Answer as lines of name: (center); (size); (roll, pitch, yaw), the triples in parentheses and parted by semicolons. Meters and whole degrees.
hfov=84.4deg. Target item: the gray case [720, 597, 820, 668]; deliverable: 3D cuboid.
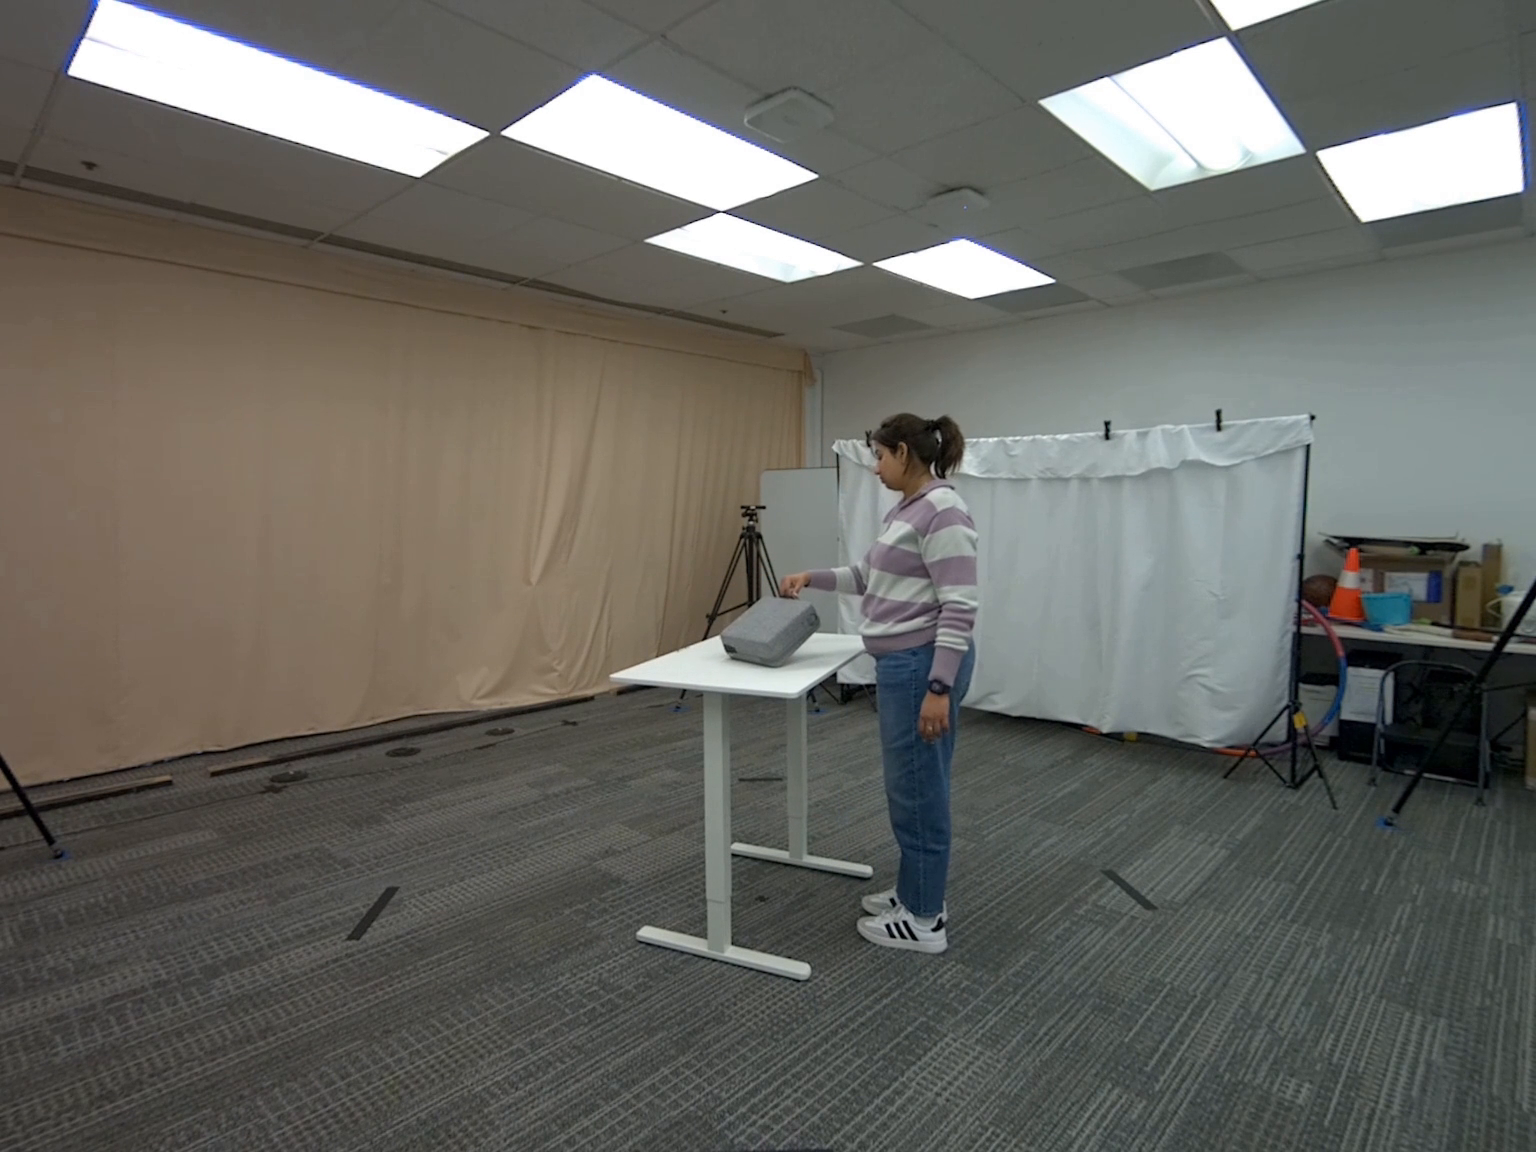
gray case: (0.013, 0.181, 2.778); (0.257, 0.102, 0.265); (-39, 26, -31)
